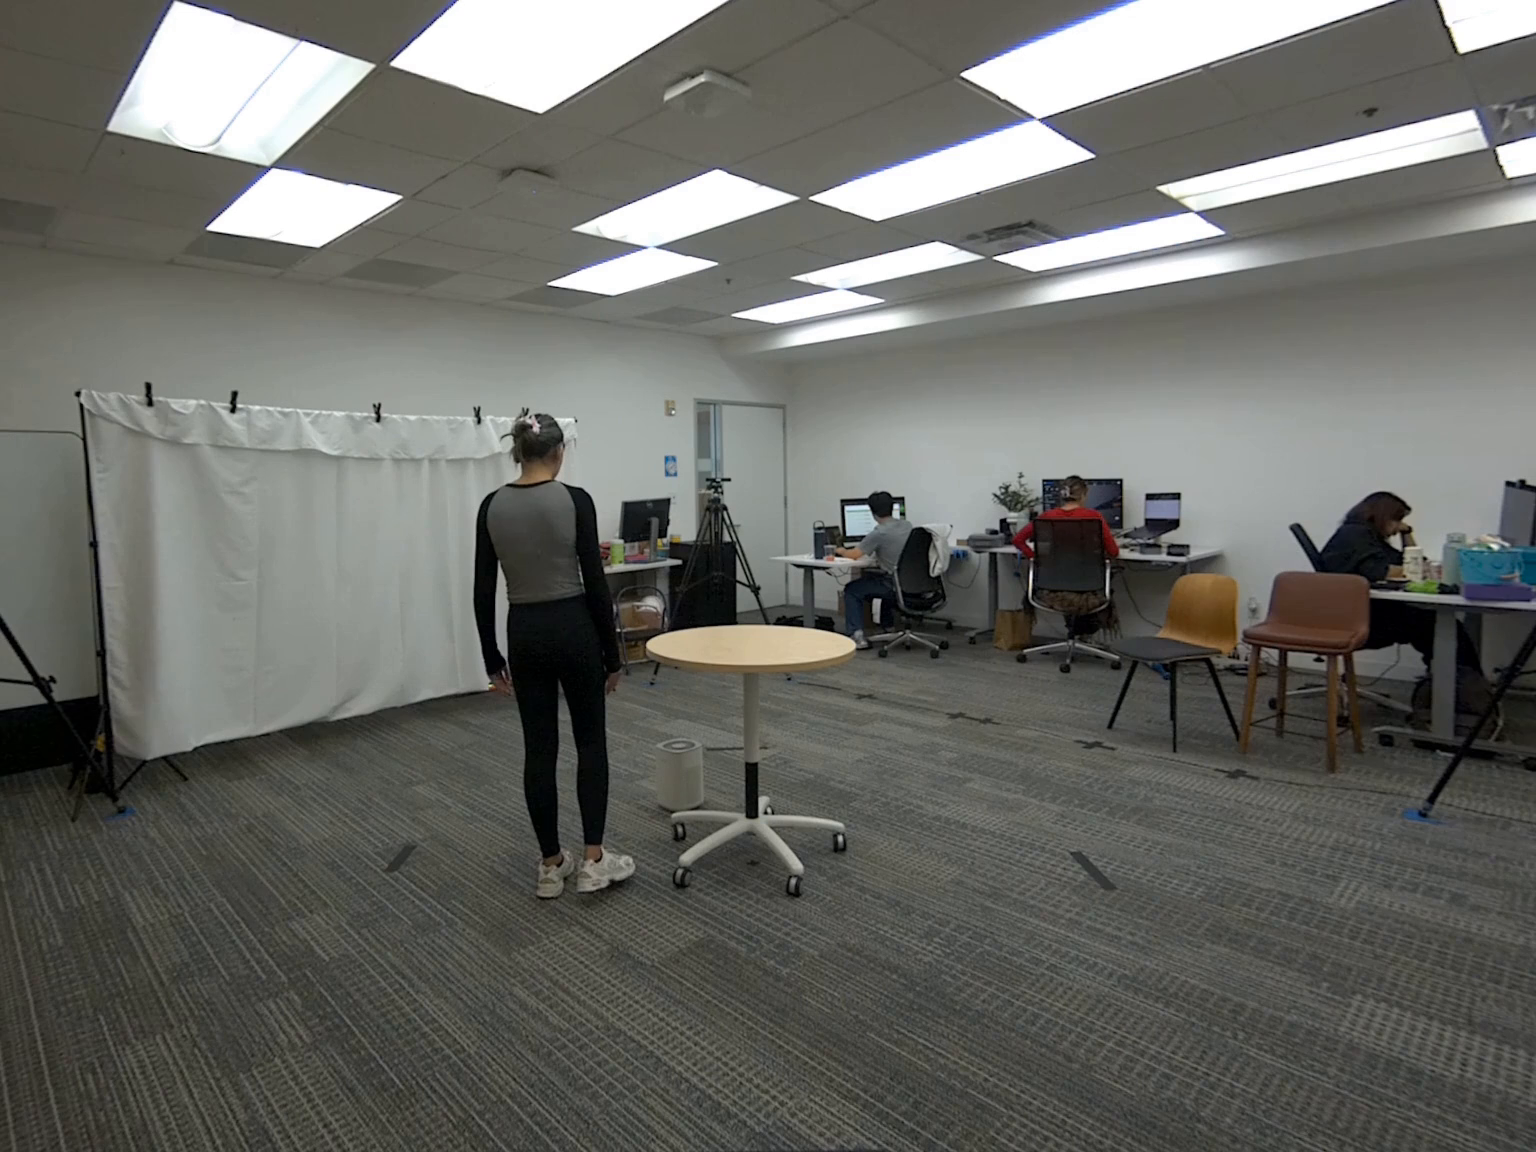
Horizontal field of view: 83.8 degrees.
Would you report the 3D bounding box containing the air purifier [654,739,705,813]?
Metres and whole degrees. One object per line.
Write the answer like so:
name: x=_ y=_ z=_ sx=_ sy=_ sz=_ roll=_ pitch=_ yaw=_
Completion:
air purifier: x=-0.377 y=0.852 z=3.660 sx=0.176 sy=0.264 sz=0.167 roll=2 pitch=5 yaw=41
